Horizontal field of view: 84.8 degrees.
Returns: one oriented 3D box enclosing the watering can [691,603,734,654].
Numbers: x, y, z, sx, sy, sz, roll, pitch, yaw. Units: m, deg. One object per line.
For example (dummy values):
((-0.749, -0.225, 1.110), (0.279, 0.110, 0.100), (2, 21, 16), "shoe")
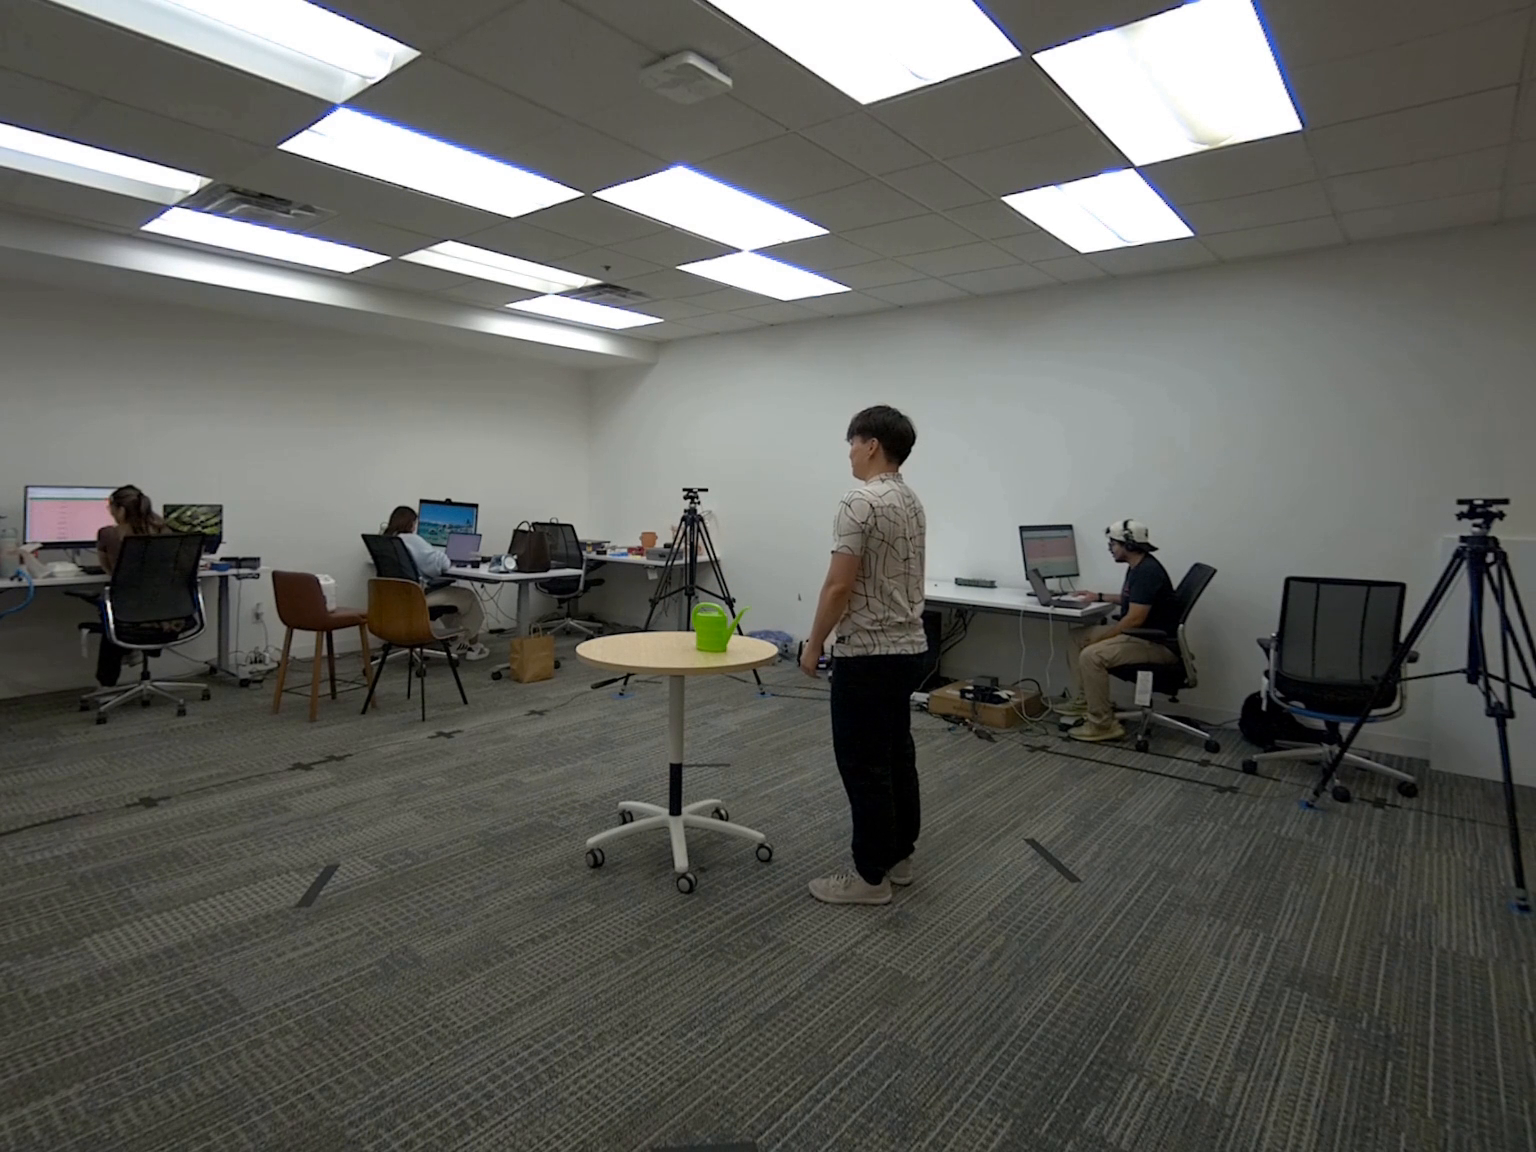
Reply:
((-0.196, 0.188, 3.180), (0.095, 0.176, 0.287), (-2, 3, -40), "watering can")
